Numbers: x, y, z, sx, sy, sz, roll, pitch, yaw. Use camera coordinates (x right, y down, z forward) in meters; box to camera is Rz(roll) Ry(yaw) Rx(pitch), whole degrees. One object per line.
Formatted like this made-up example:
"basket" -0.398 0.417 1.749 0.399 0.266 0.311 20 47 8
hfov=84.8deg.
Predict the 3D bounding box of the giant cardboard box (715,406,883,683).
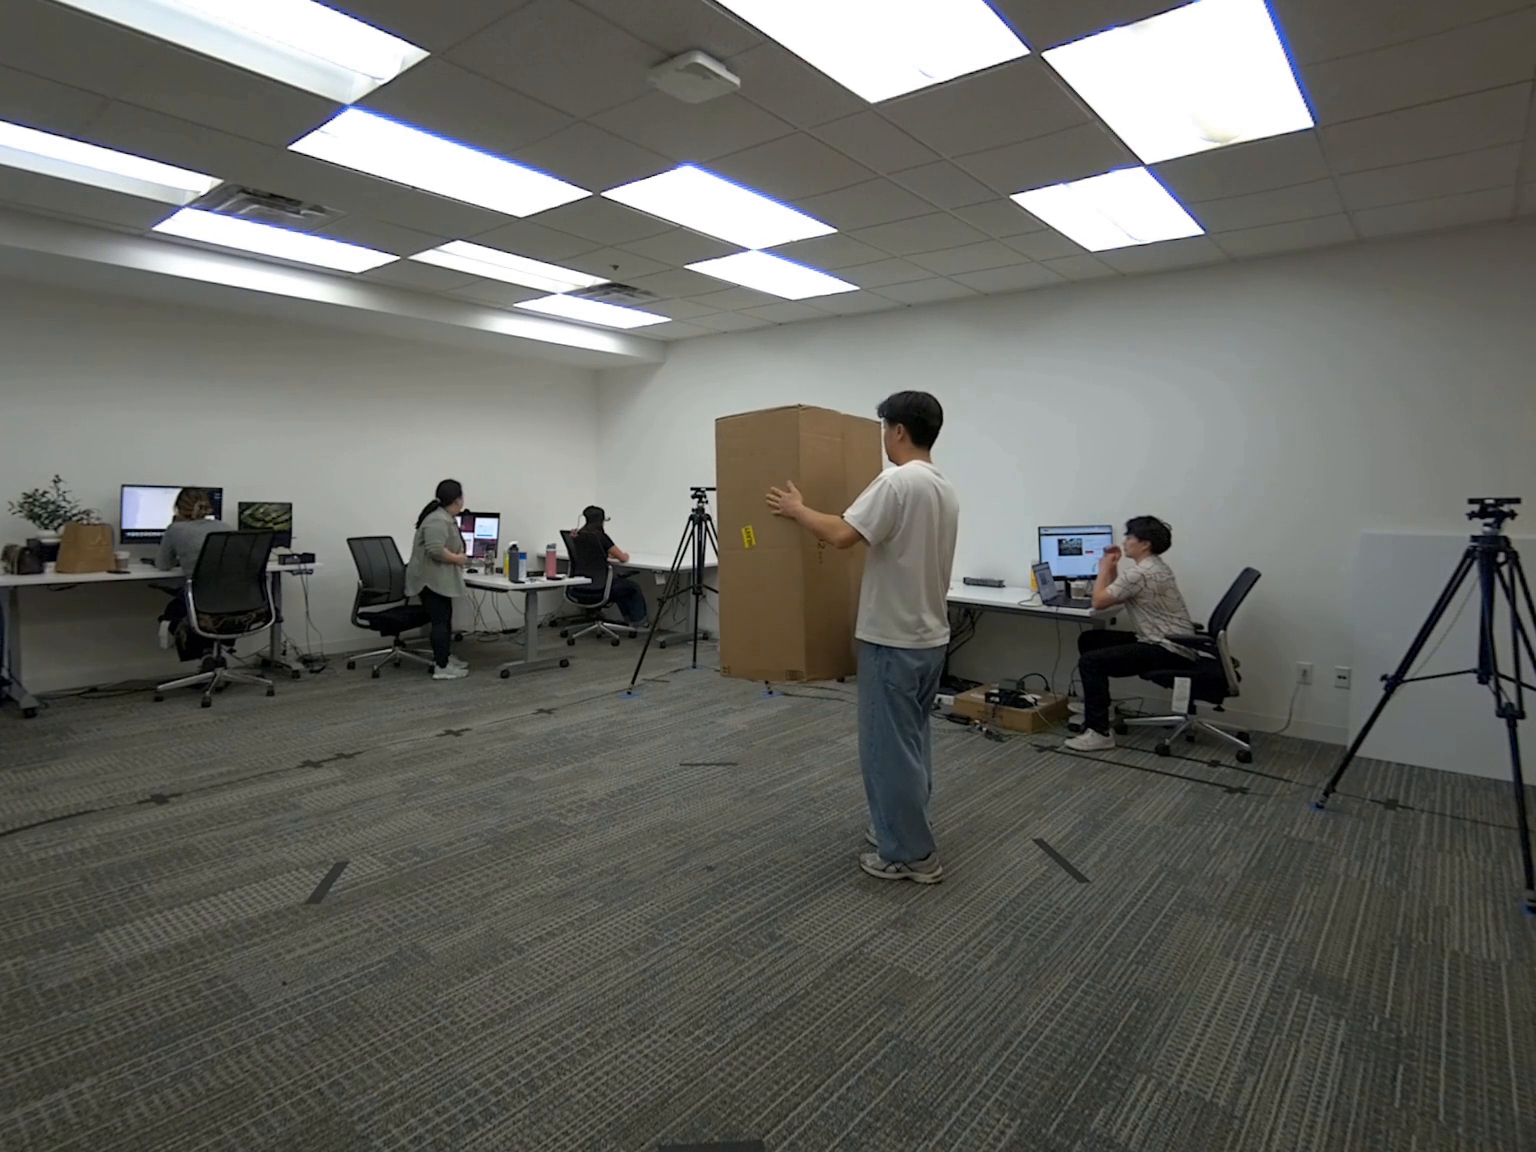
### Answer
"giant cardboard box" 0.131 -0.120 3.431 0.439 1.028 0.559 -3 -3 41
